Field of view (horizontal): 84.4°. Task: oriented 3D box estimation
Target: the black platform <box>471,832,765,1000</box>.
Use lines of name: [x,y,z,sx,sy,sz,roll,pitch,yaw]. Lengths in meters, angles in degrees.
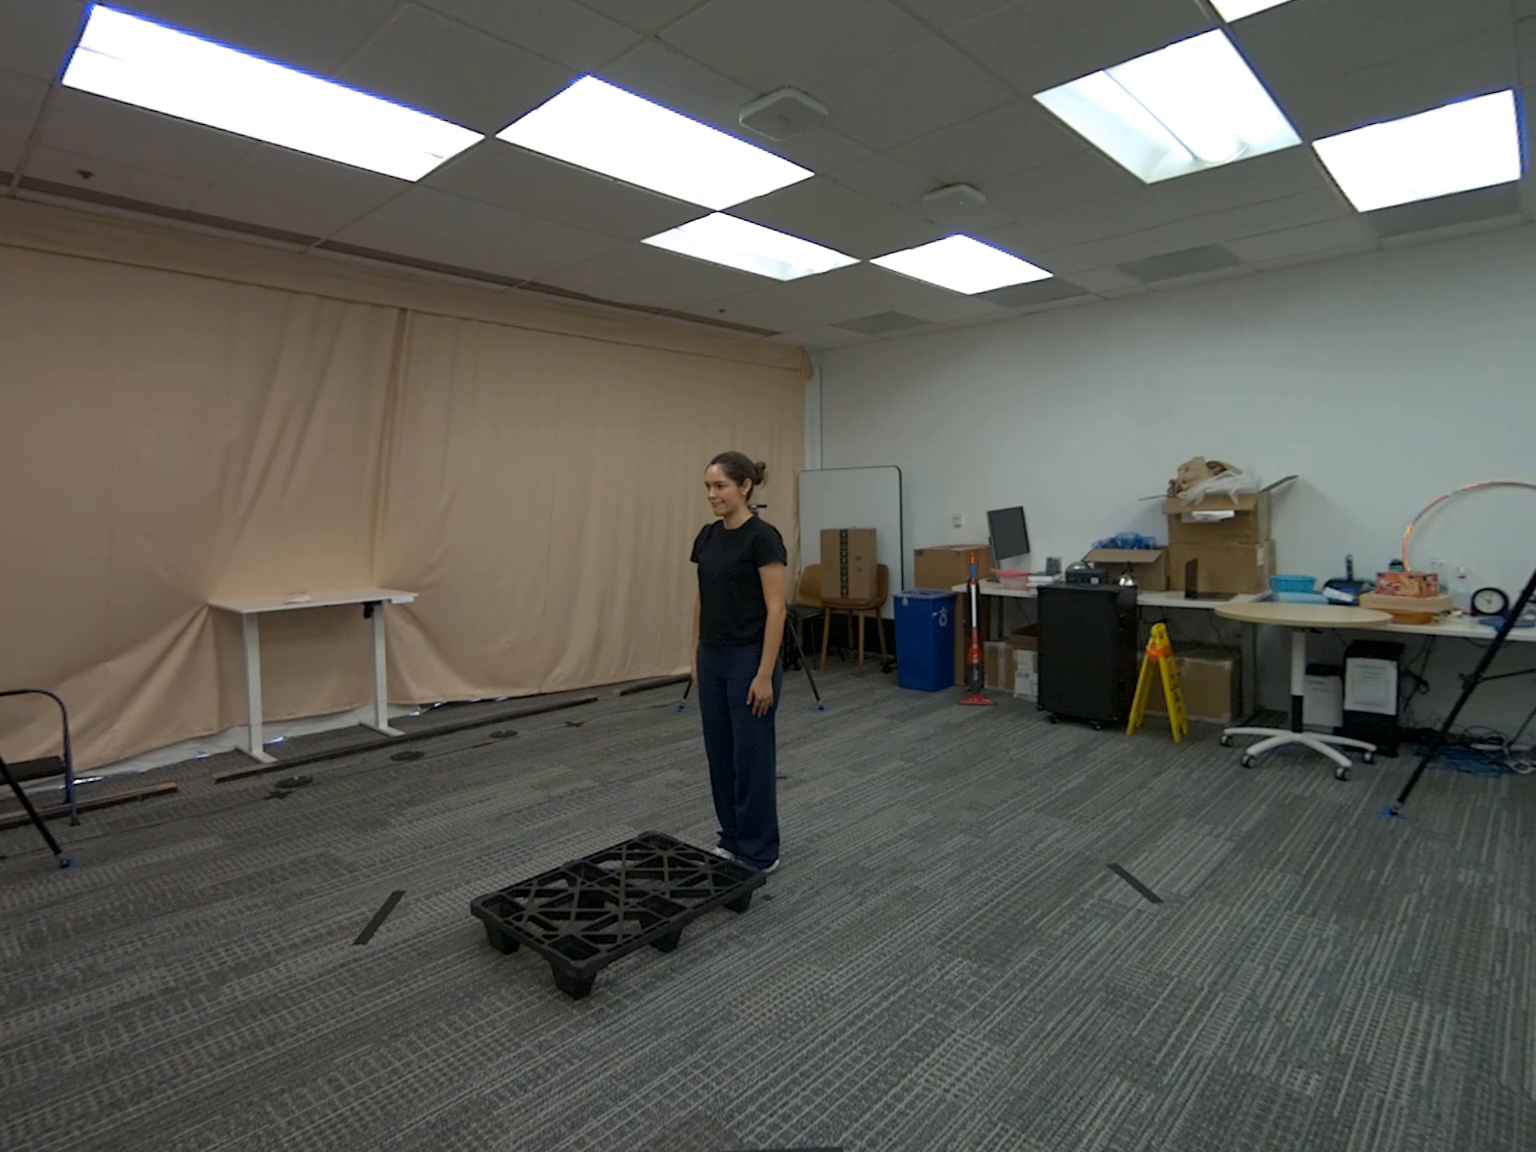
black platform: [-0.464,1.103,2.799,0.625,0.143,0.782,4,8,42]
